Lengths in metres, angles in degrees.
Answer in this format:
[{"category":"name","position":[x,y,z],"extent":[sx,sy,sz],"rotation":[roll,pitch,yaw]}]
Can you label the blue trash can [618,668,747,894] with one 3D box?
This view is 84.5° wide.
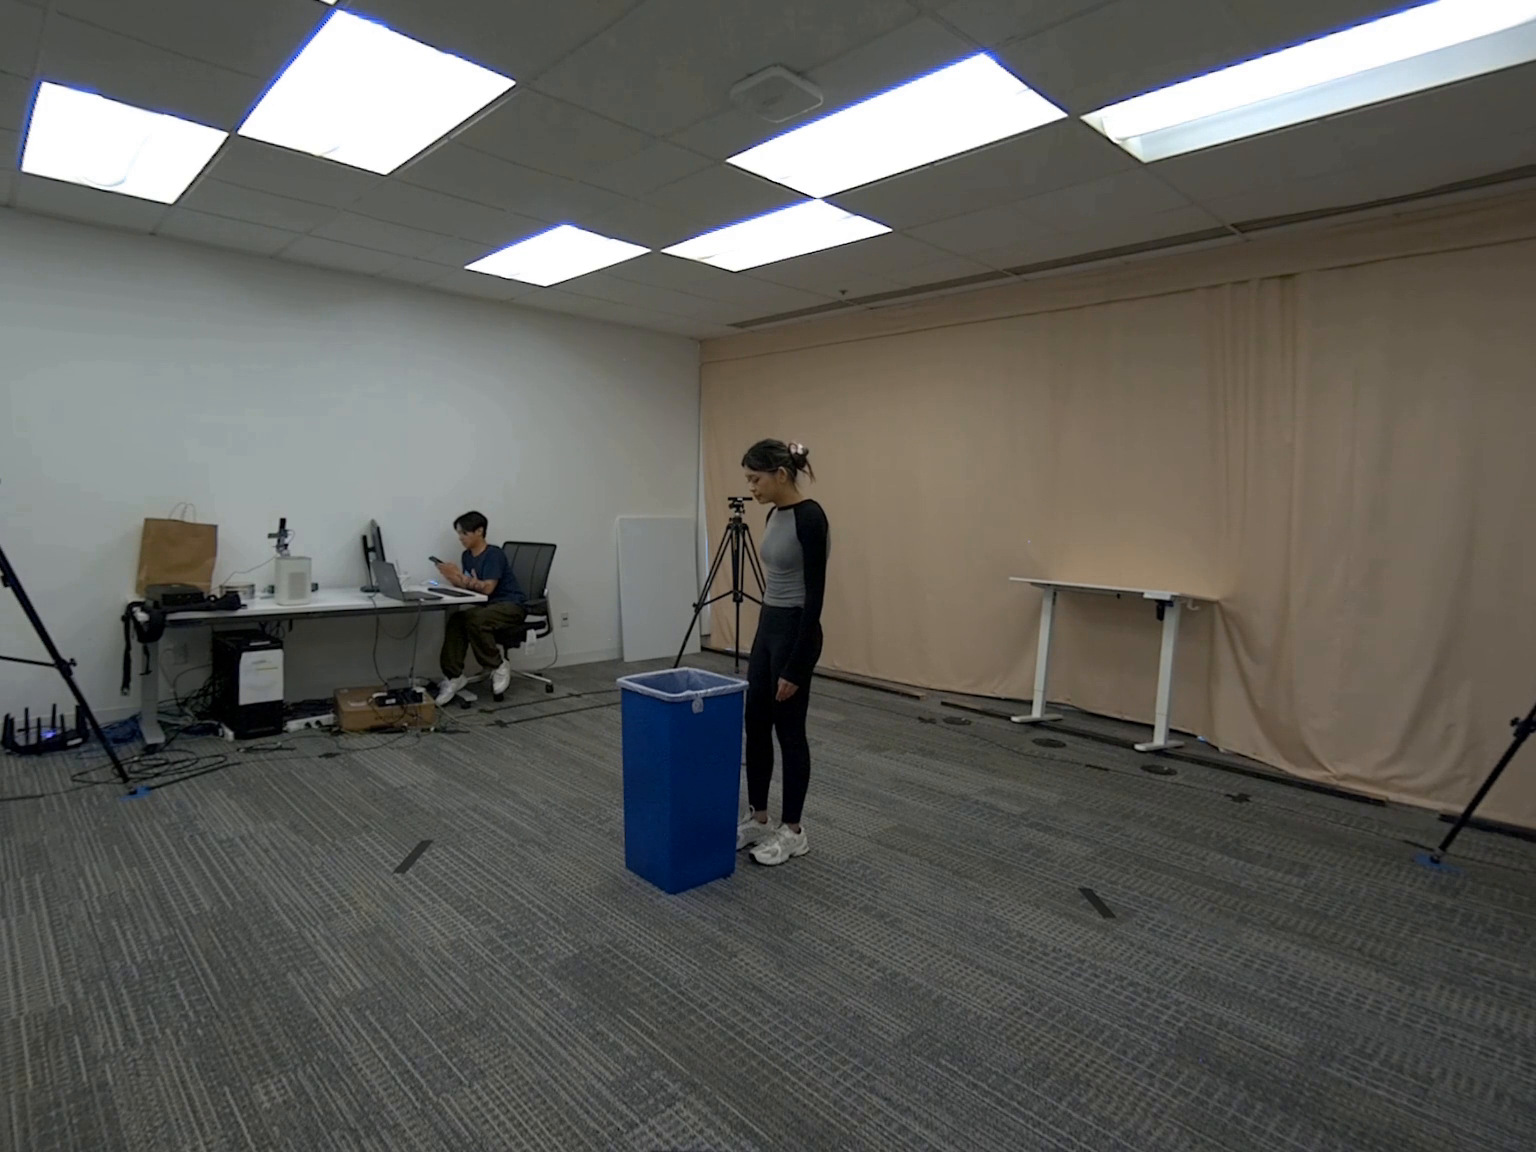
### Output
[{"category":"blue trash can","position":[-0.337,0.744,3.133],"extent":[0.369,0.712,0.383],"rotation":[-1,4,-42]}]
